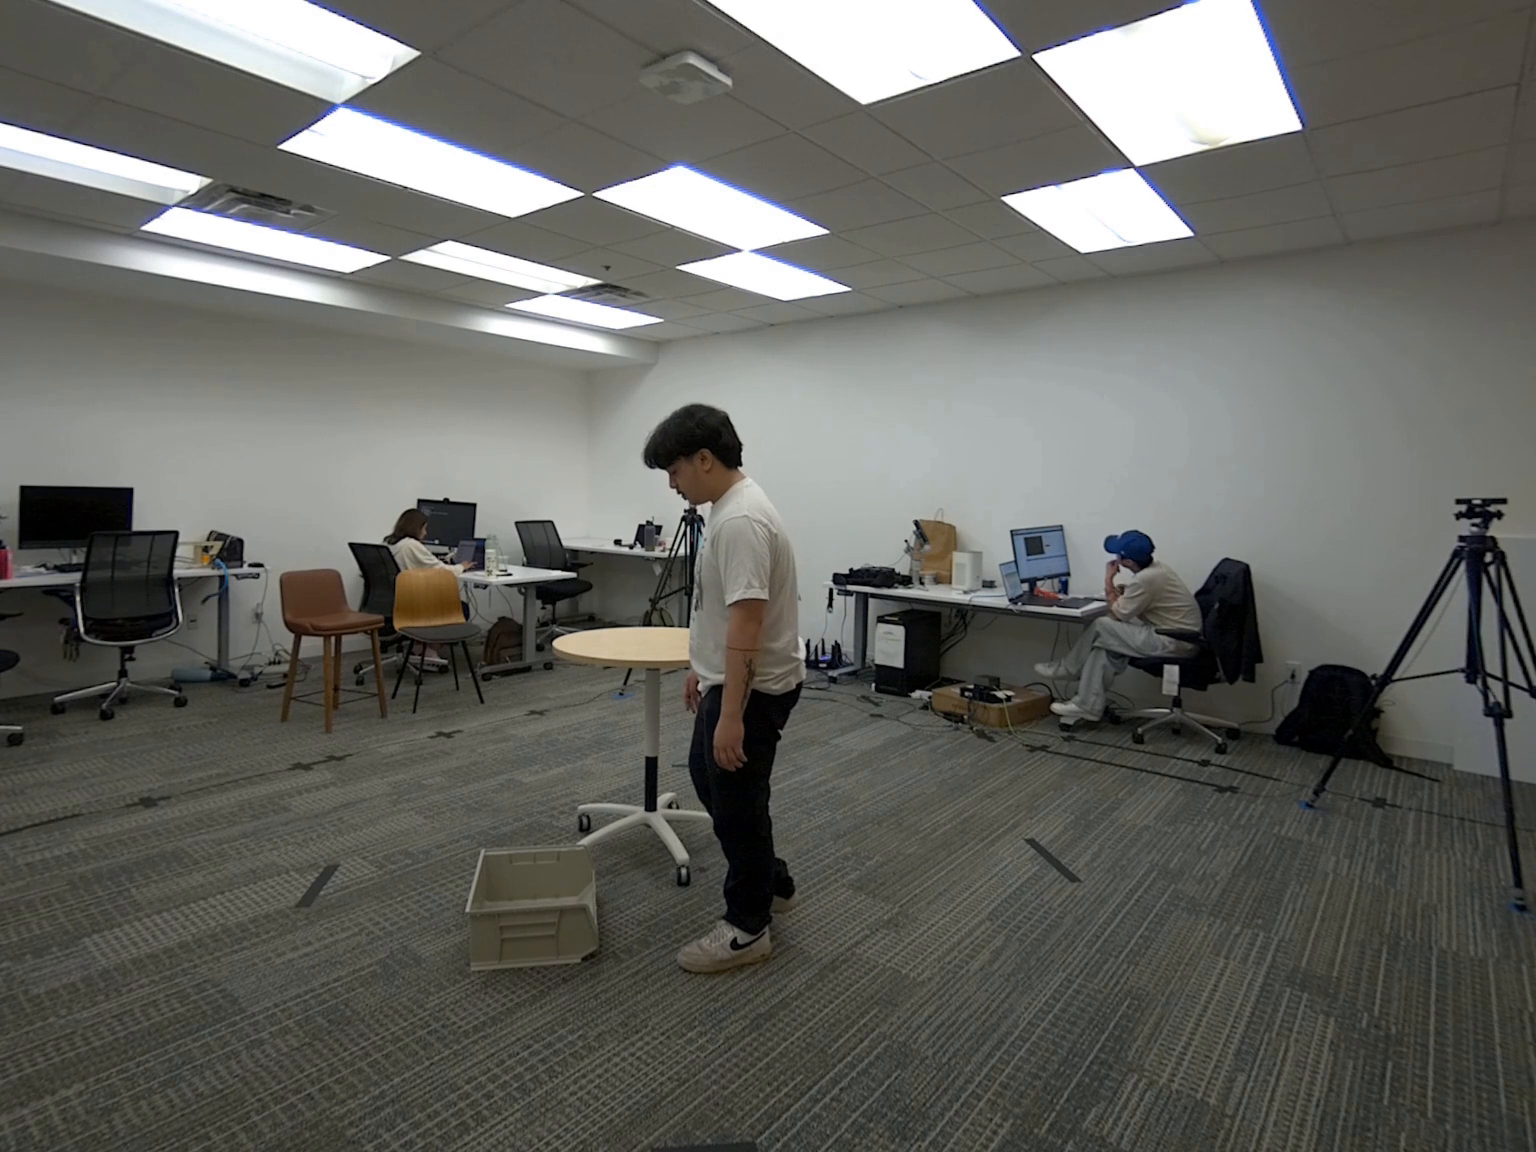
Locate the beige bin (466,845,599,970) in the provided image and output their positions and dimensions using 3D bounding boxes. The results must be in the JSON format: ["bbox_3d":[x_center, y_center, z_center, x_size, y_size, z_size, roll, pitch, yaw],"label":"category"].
[{"bbox_3d":[-0.739,1.022,2.655,0.373,0.188,0.429,-1,6,-12],"label":"beige bin"}]
